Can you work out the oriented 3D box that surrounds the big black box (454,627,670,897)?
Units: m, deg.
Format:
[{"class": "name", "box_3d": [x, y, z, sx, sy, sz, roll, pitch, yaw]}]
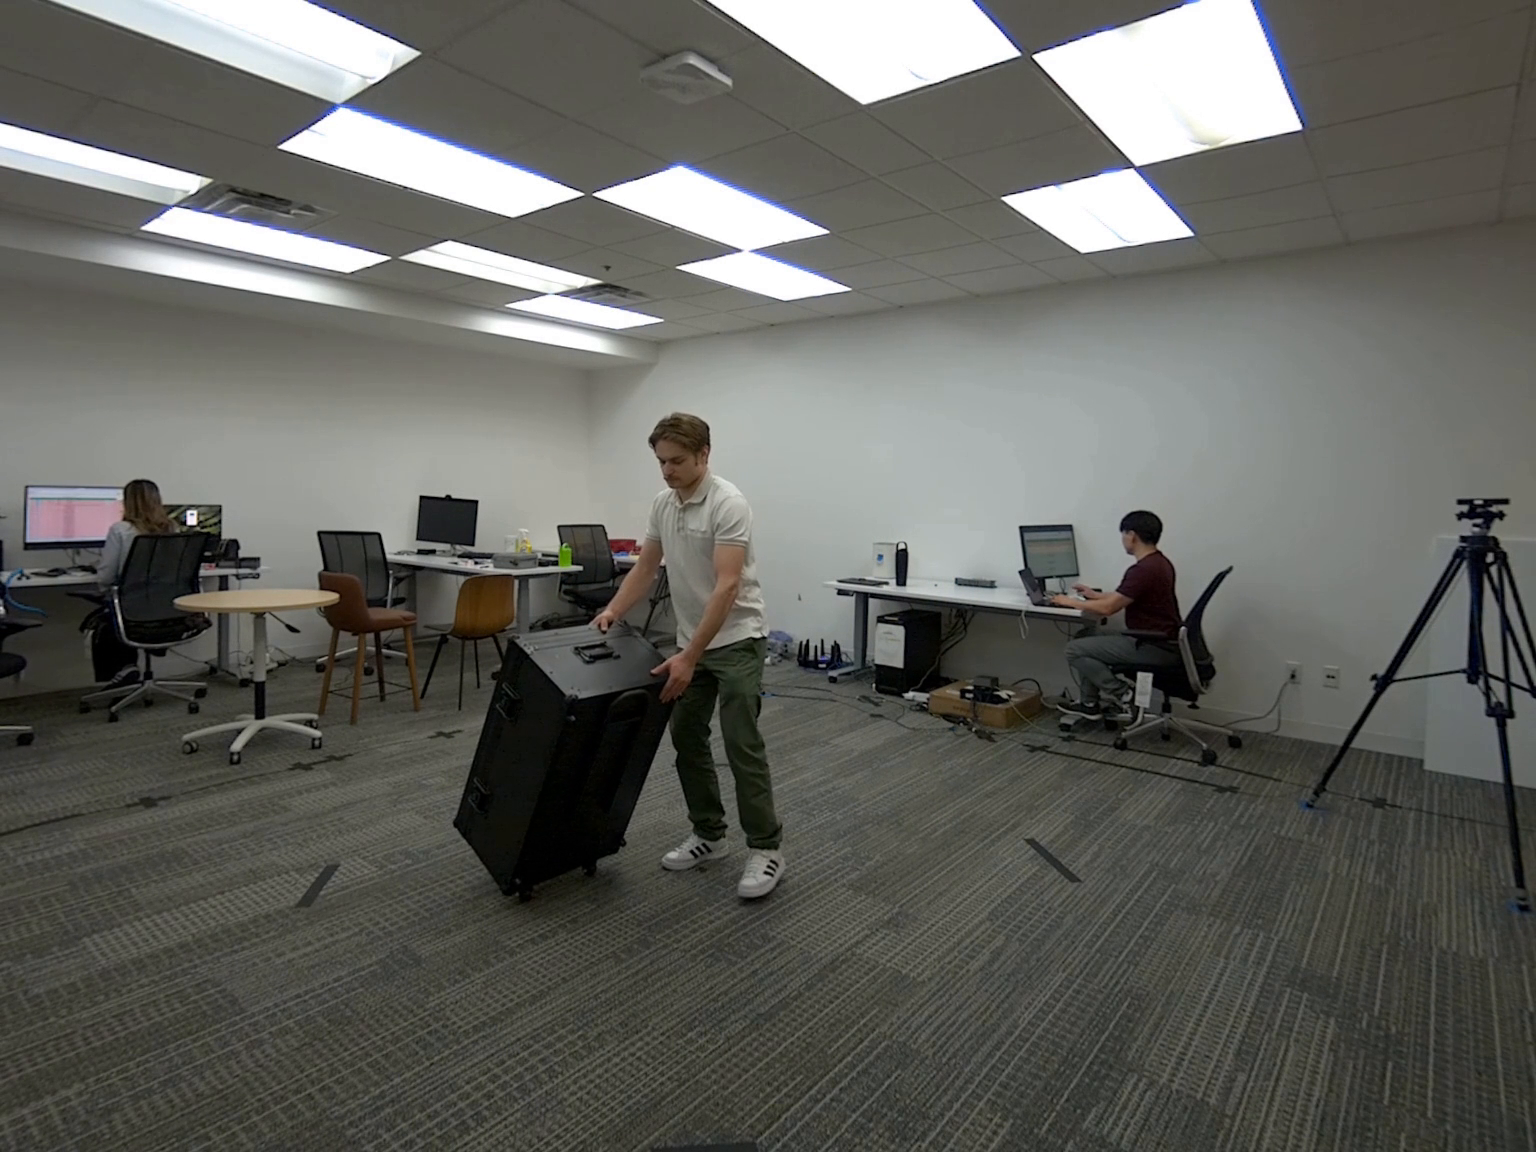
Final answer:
[{"class": "big black box", "box_3d": [-0.698, 0.632, 2.906, 0.401, 0.860, 0.508, 35, 24, 33]}]
